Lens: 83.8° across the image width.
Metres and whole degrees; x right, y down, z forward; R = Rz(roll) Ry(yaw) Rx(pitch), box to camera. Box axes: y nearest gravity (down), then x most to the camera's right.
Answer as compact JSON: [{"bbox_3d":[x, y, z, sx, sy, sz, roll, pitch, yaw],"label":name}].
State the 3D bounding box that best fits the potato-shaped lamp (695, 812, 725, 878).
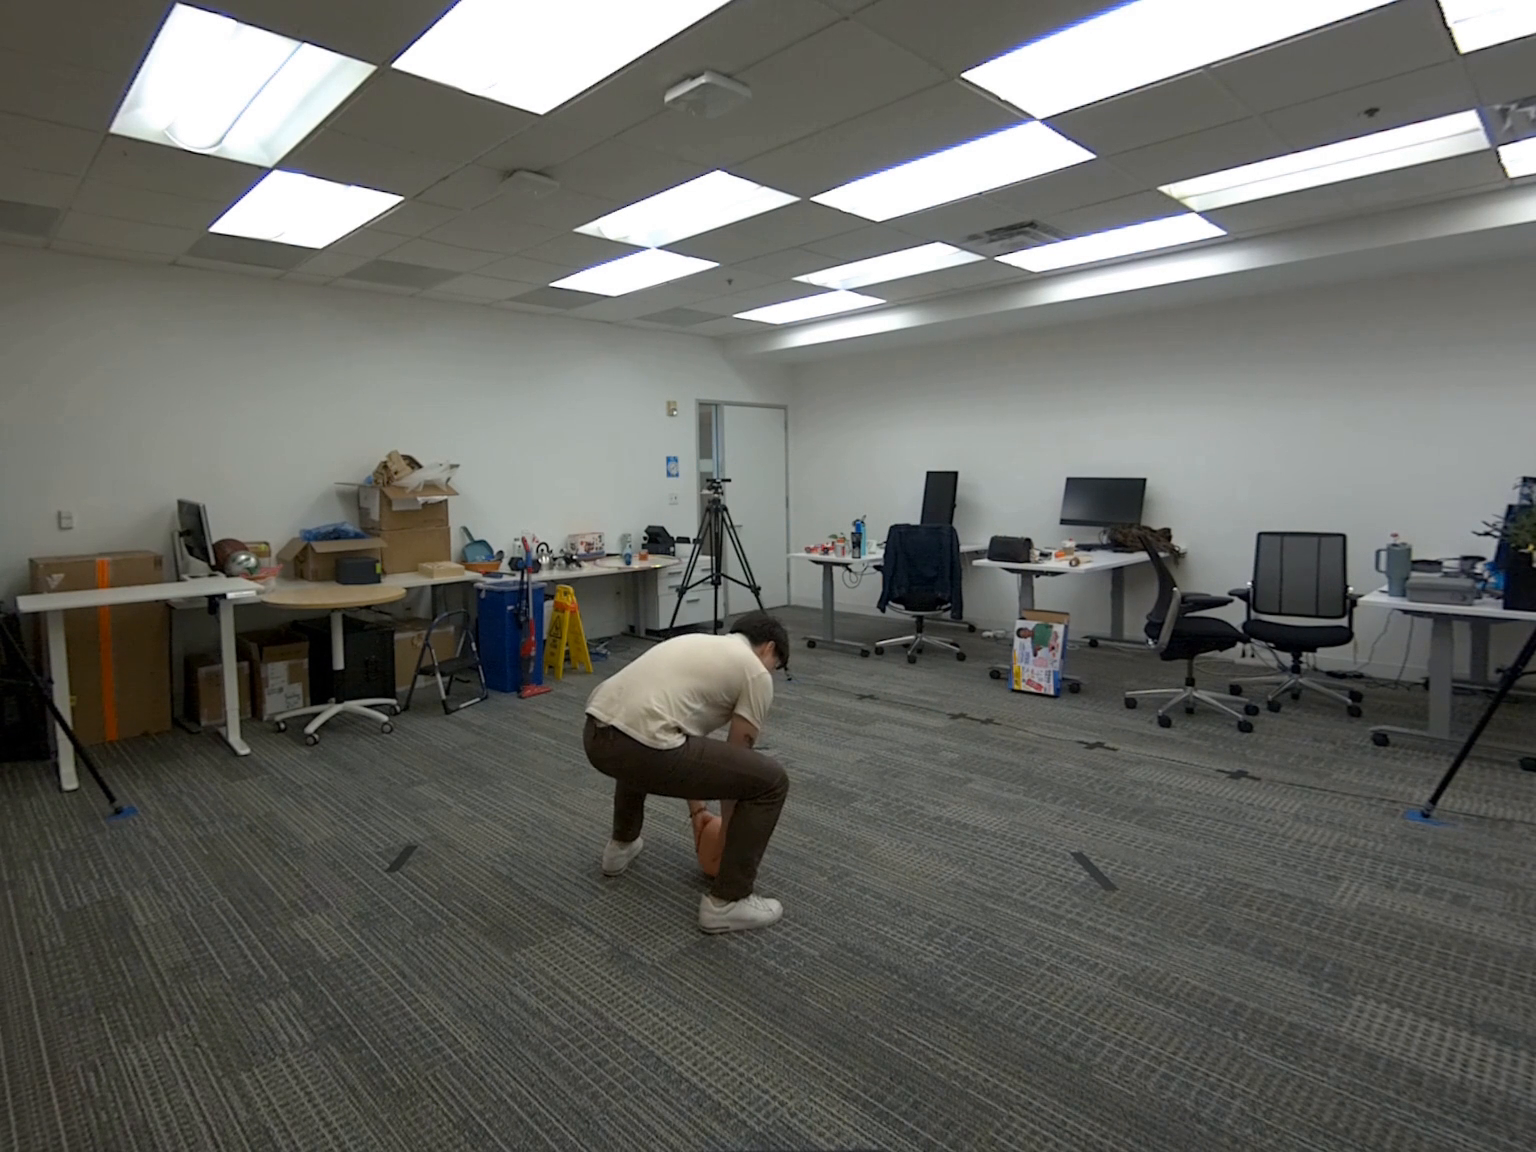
[{"bbox_3d":[-0.151,0.929,3.007,0.166,0.198,0.169,3,-3,-39],"label":"potato-shaped lamp"}]
